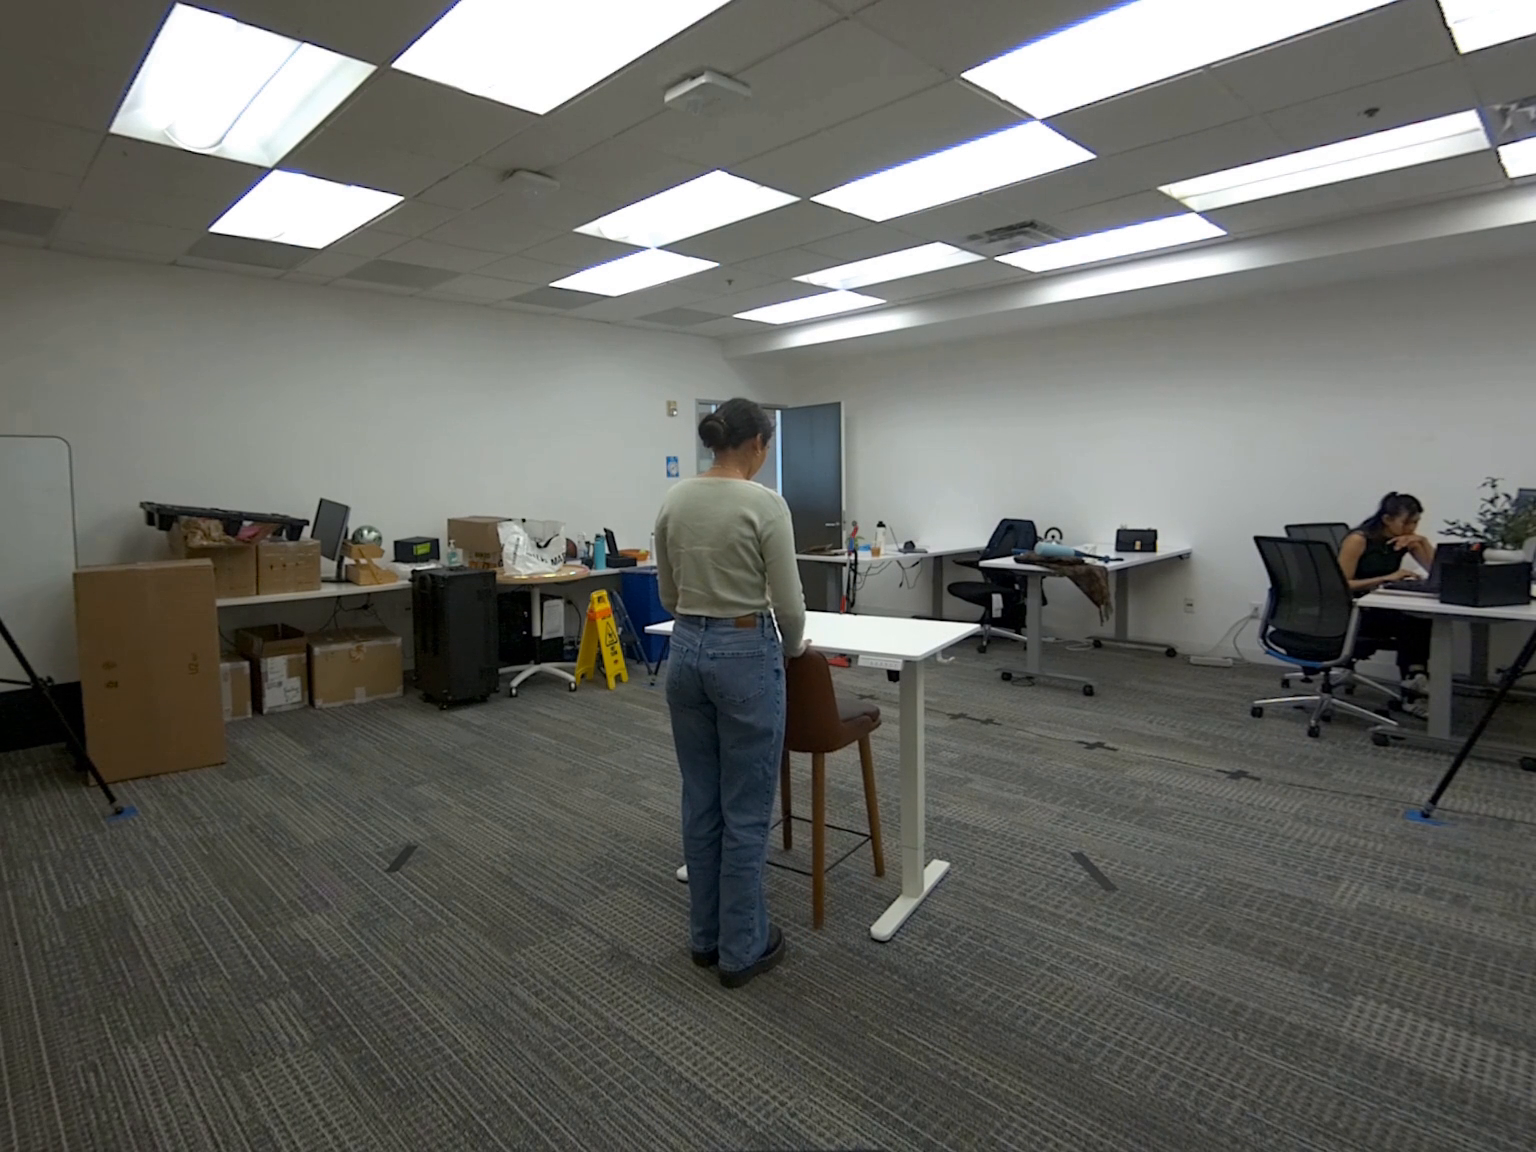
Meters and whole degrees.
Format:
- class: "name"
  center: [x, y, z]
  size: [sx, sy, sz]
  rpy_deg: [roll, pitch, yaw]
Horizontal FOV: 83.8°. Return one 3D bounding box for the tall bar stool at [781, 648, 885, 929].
- class: "tall bar stool"
  center: [0.115, 0.631, 2.901]
  size: [0.469, 0.885, 0.457]
  rpy_deg: [2, 7, 33]
